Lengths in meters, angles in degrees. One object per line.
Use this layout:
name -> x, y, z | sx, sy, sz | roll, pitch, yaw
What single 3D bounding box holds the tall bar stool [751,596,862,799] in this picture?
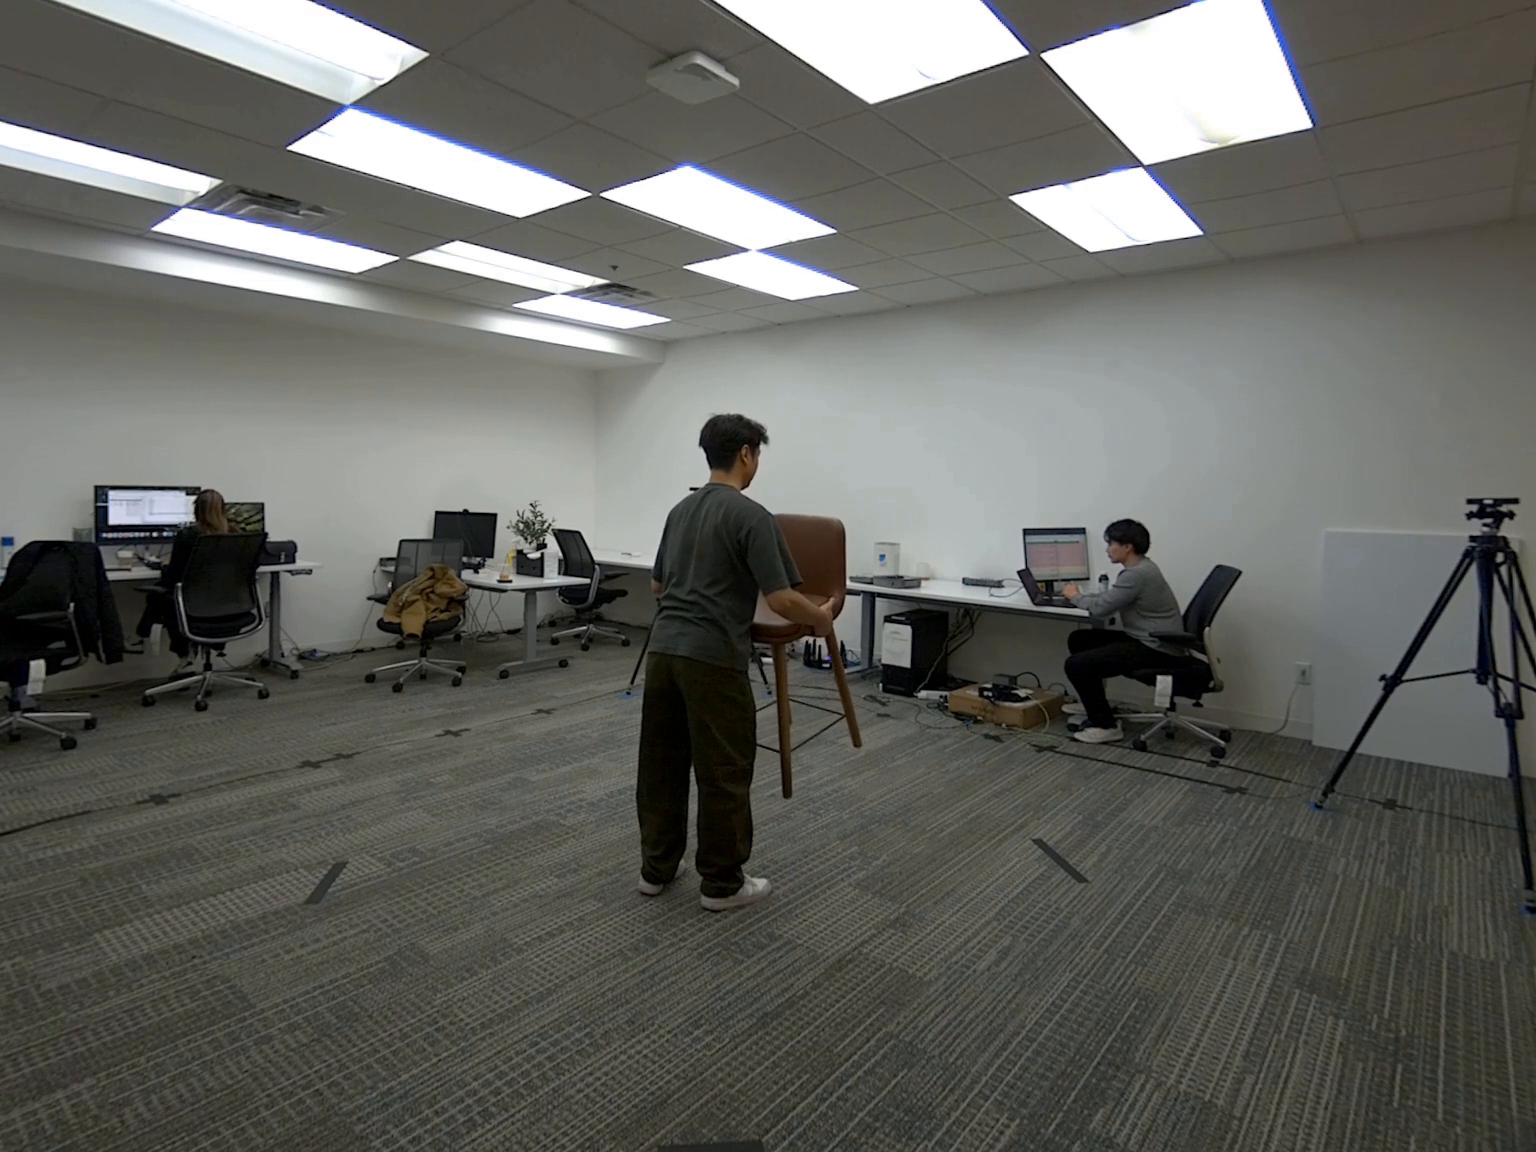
tall bar stool -> 0.024, 0.259, 3.085 | 0.473, 0.879, 0.457 | 8, 17, 44
